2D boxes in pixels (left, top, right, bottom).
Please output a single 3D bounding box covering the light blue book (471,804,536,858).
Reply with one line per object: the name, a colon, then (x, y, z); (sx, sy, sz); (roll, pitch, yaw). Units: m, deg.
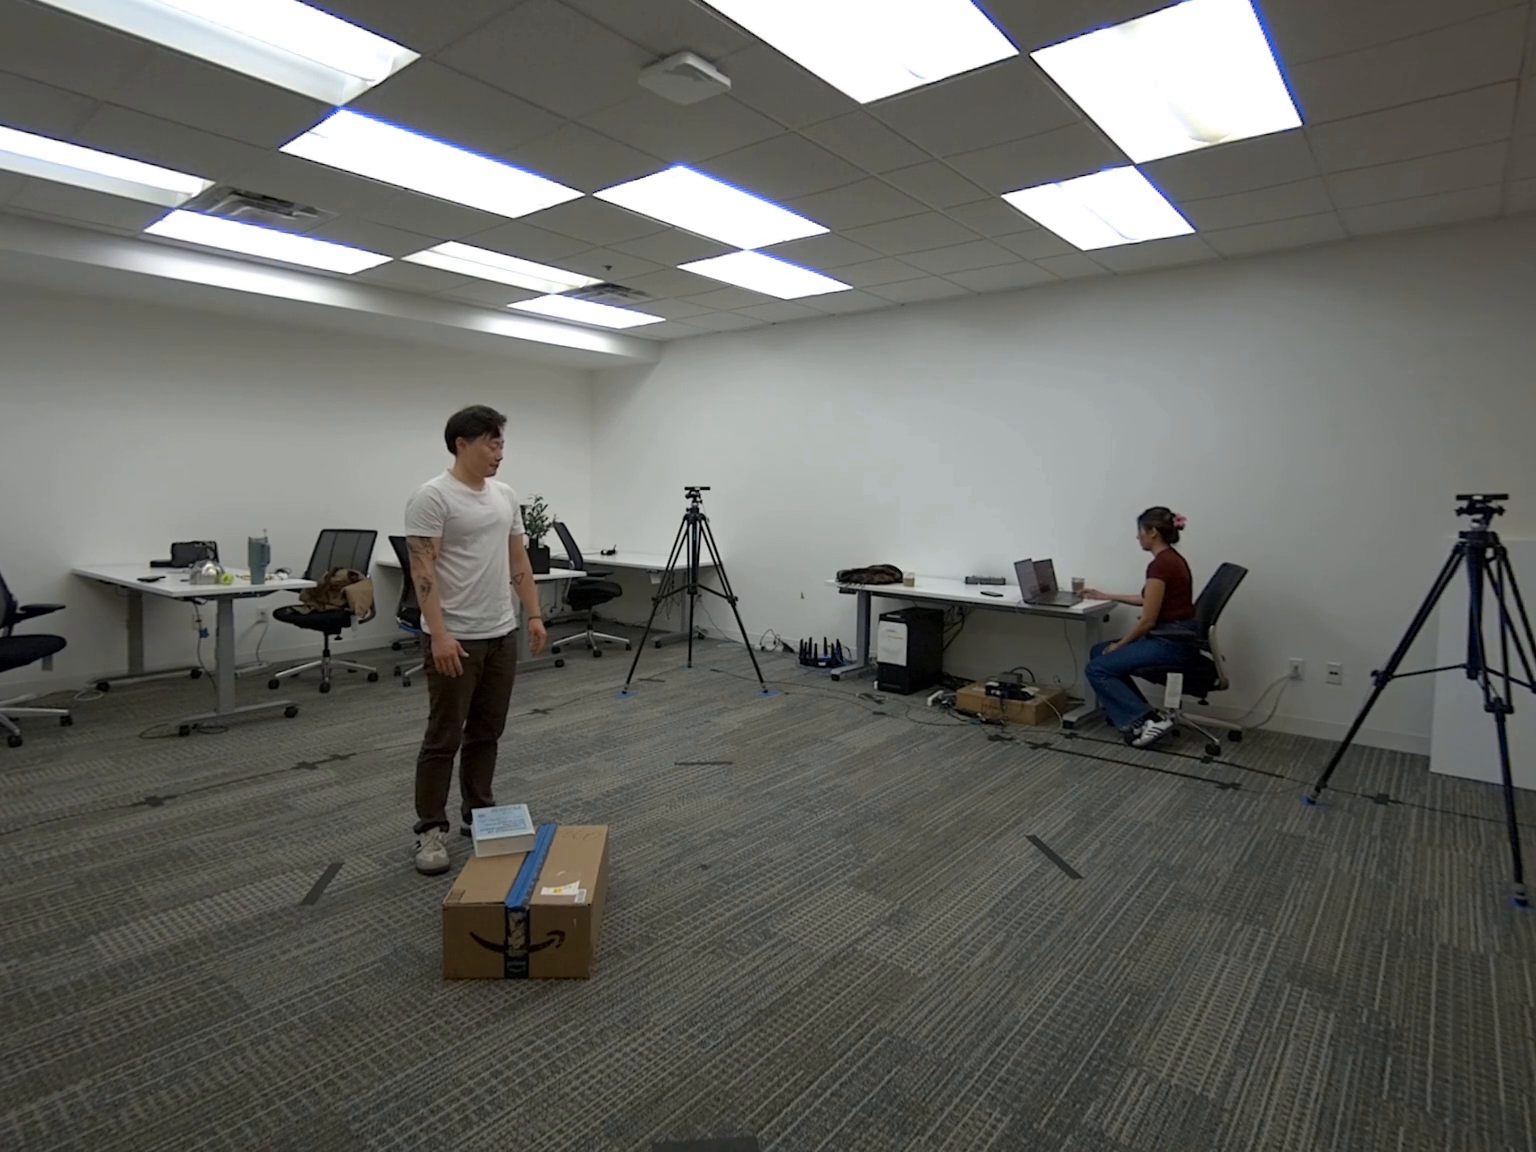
light blue book: (-0.900, 0.845, 2.836); (0.187, 0.059, 0.267); (-2, 7, -21)
